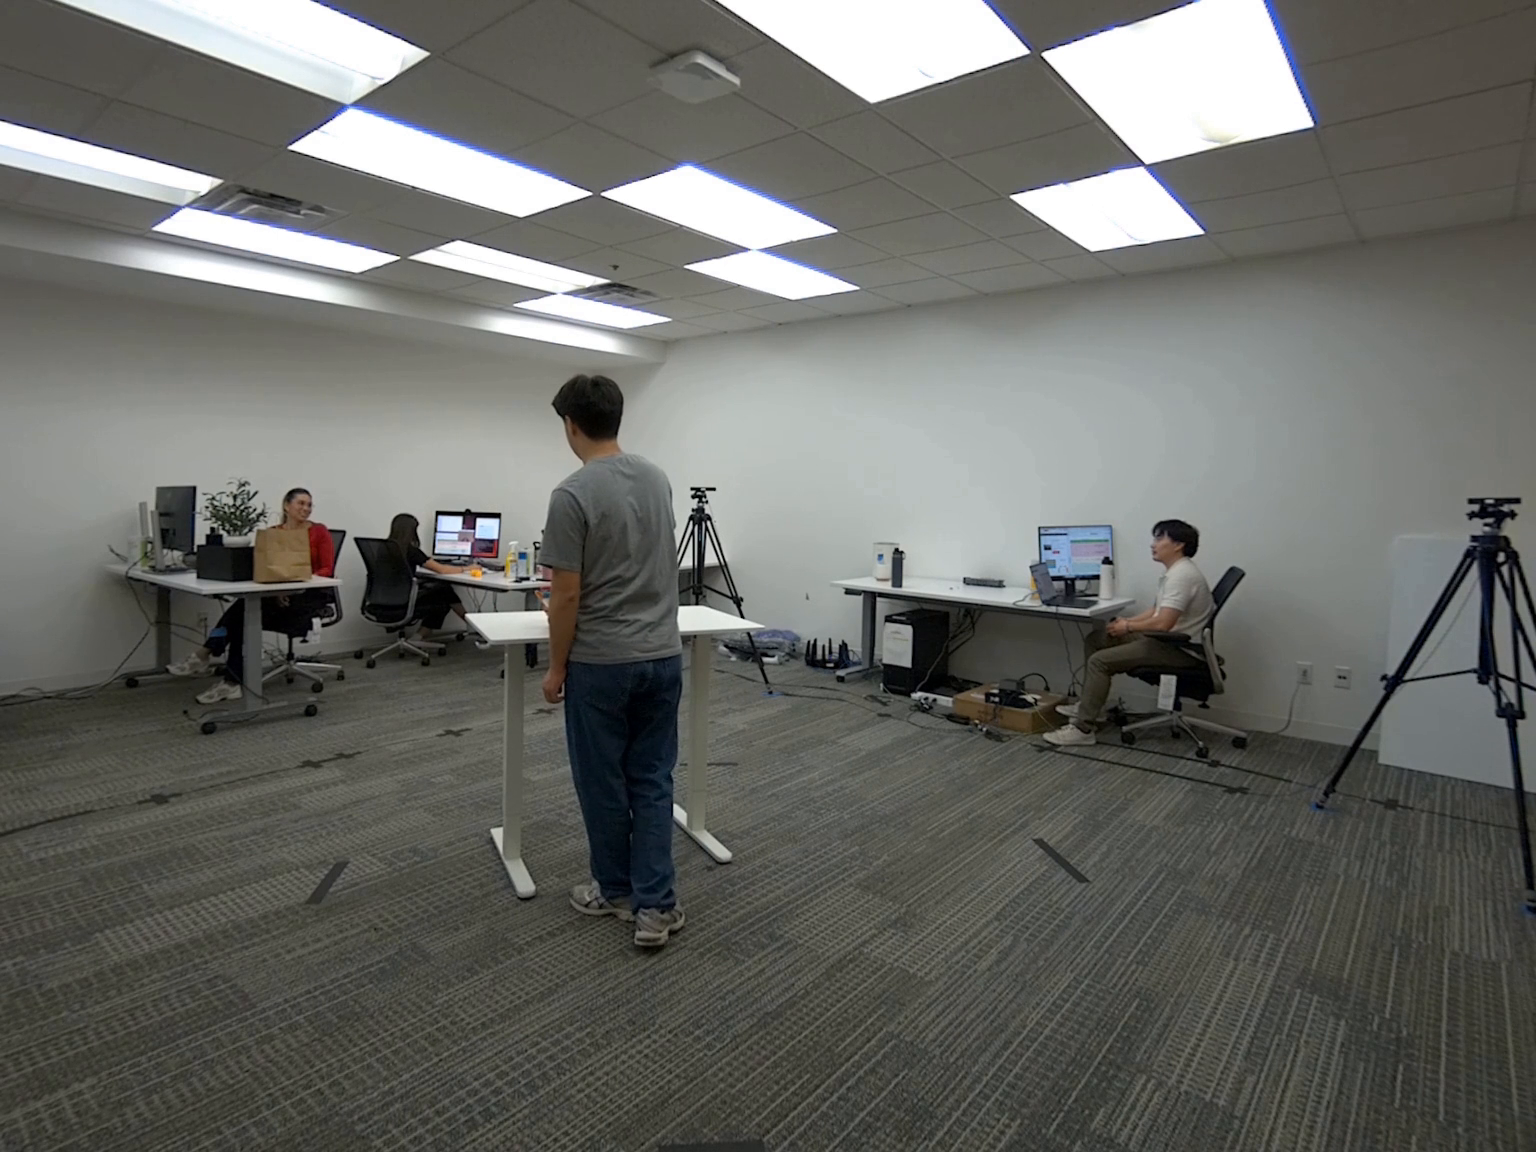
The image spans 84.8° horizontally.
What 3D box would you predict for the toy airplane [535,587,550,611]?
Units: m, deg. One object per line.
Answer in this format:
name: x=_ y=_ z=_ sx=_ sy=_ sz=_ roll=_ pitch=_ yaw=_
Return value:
toy airplane: x=-0.696 y=0.071 z=3.068 sx=0.257 sy=0.157 sz=0.253 roll=-24 pitch=1 yaw=-16
